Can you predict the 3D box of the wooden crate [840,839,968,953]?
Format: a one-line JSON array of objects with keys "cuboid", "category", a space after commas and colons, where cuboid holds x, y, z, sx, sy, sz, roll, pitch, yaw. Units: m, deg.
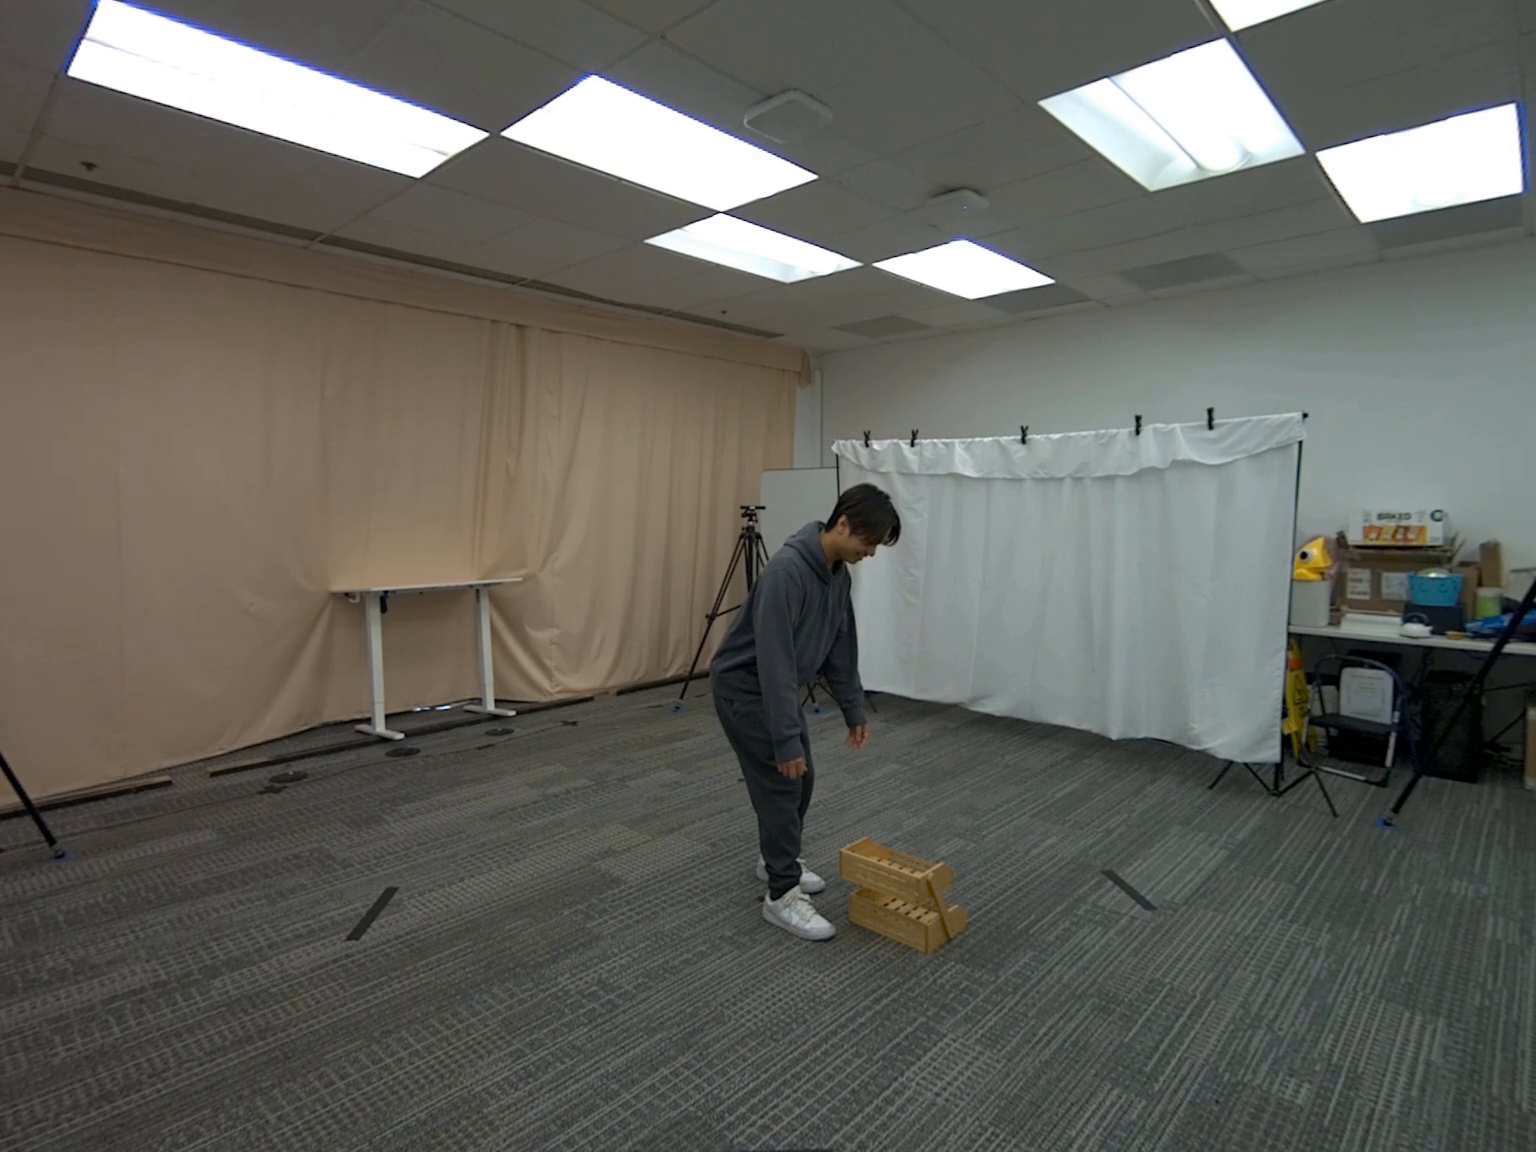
[{"cuboid": [0.455, 1.029, 2.778, 0.335, 0.272, 0.293, 3, 6, 43], "category": "wooden crate"}]
